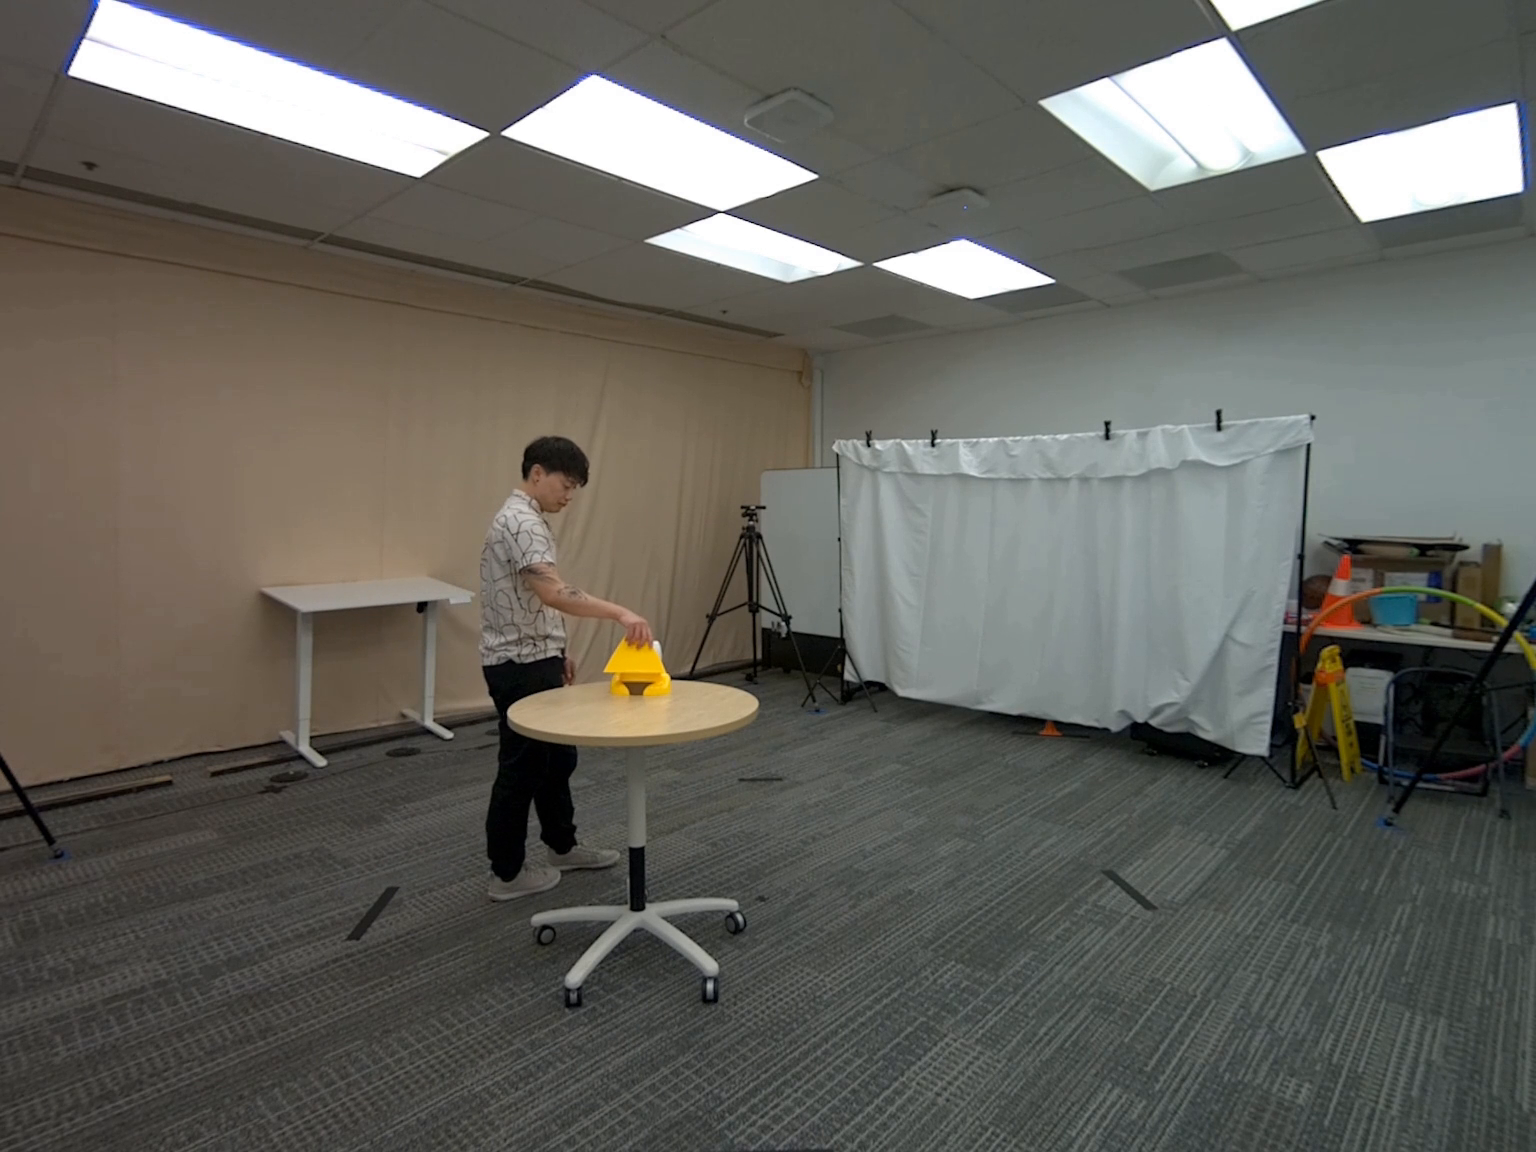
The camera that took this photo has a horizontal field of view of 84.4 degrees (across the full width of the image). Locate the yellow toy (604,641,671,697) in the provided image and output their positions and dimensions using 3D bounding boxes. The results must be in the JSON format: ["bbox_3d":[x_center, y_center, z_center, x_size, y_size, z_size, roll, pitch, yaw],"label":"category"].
[{"bbox_3d":[-0.422,0.269,2.784,0.206,0.230,0.192,0,3,5],"label":"yellow toy"}]
